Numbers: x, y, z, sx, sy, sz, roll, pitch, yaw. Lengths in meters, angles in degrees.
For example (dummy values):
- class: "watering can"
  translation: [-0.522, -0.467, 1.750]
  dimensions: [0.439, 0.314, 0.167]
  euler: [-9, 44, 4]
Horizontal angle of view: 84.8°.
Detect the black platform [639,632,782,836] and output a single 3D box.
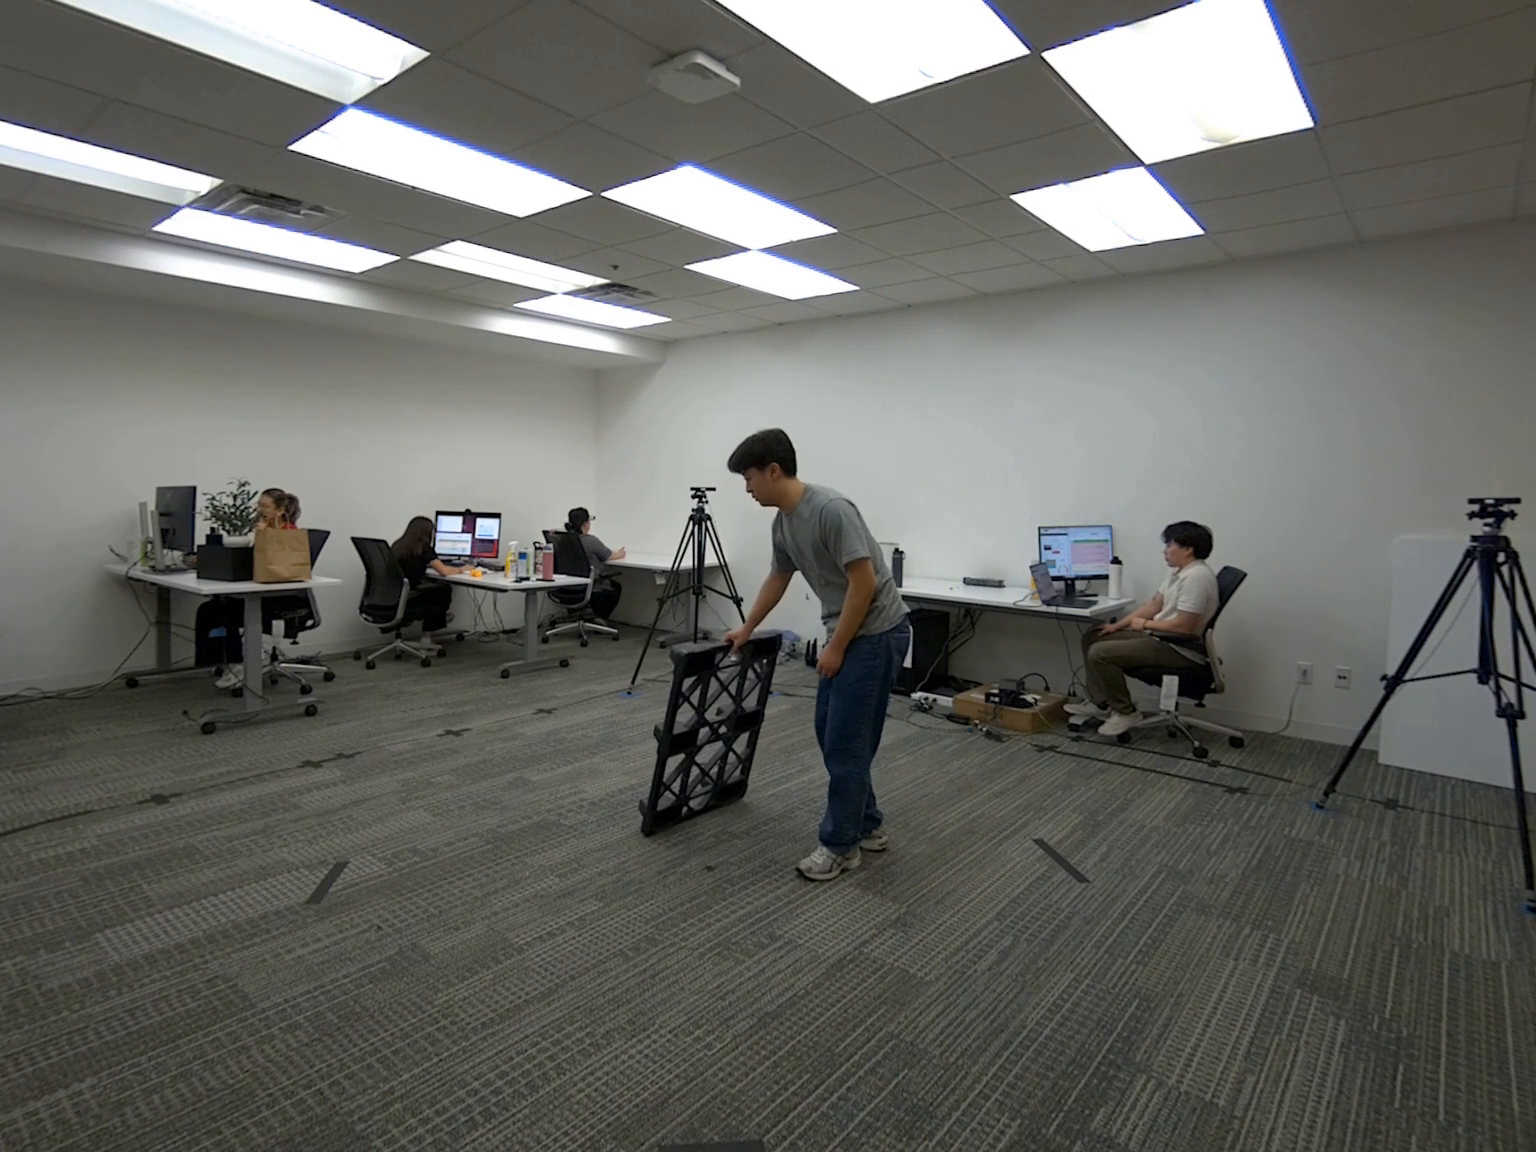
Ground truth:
- class: "black platform"
  translation: [-0.265, 0.616, 3.538]
  dimensions: [0.149, 0.798, 0.587]
  euler: [23, 18, 38]
